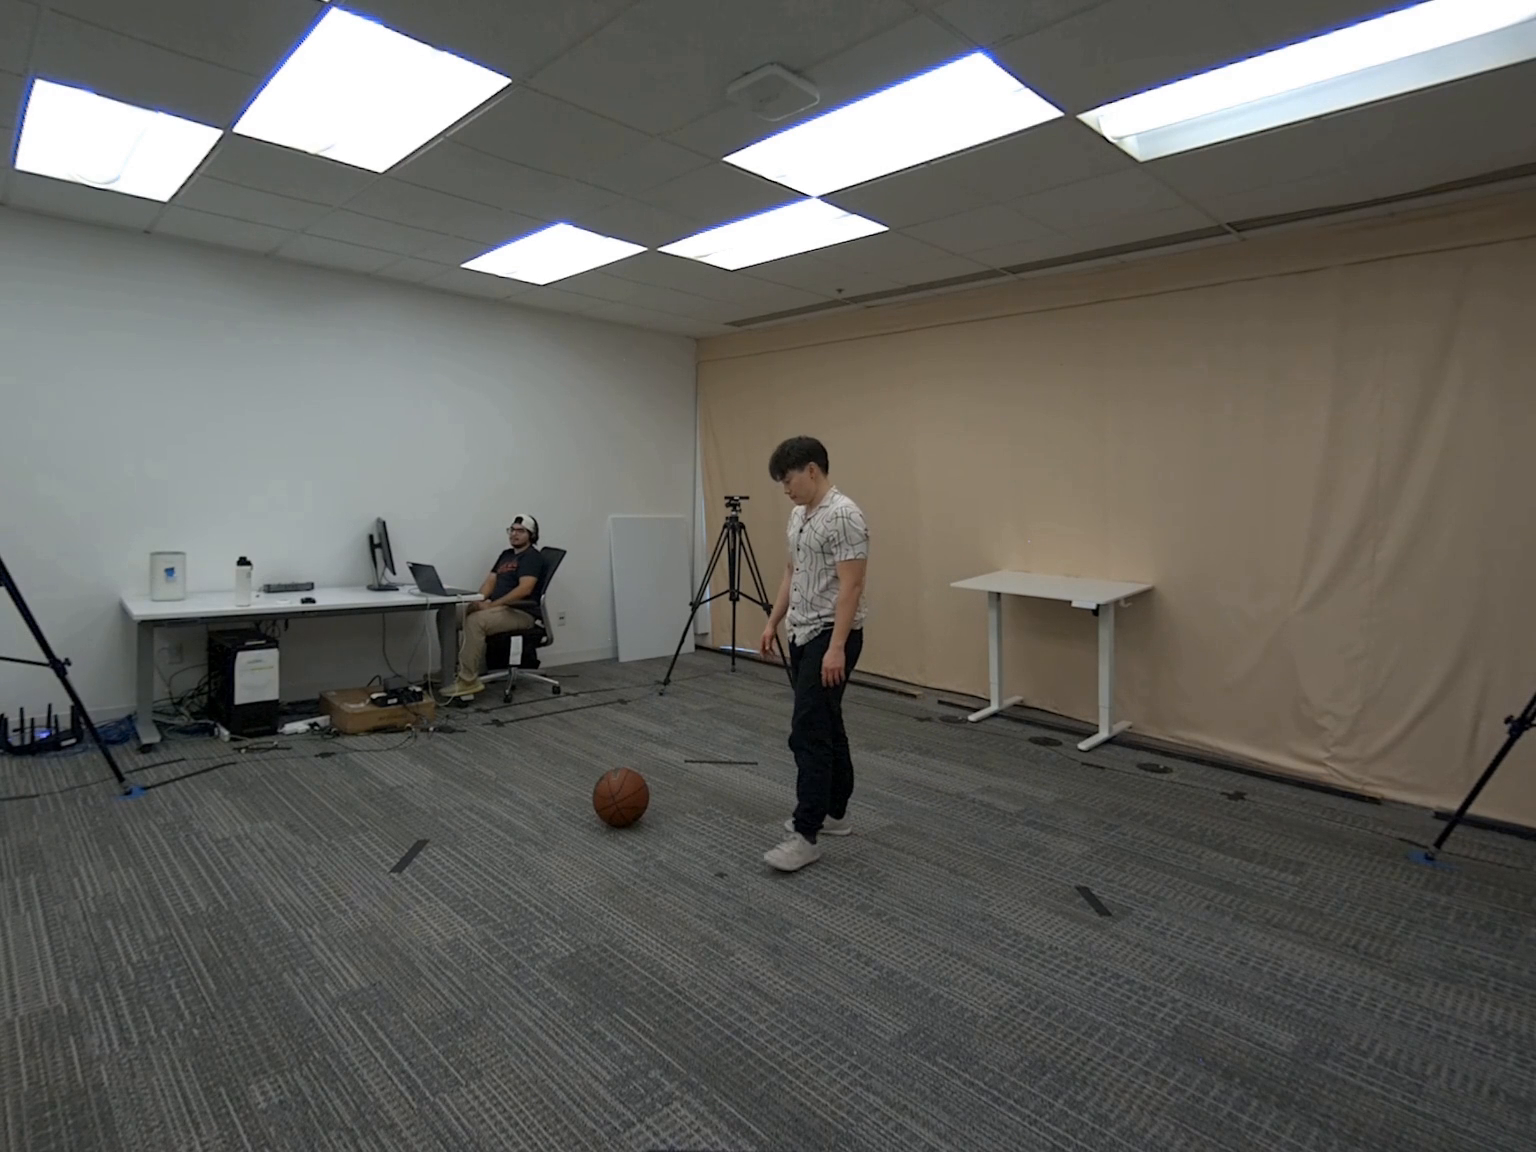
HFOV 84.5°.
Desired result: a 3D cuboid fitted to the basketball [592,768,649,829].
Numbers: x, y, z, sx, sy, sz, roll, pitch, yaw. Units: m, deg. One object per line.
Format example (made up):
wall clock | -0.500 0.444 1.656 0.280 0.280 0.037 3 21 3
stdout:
basketball | -0.628 0.927 3.554 0.236 0.235 0.237 1 4 -1
